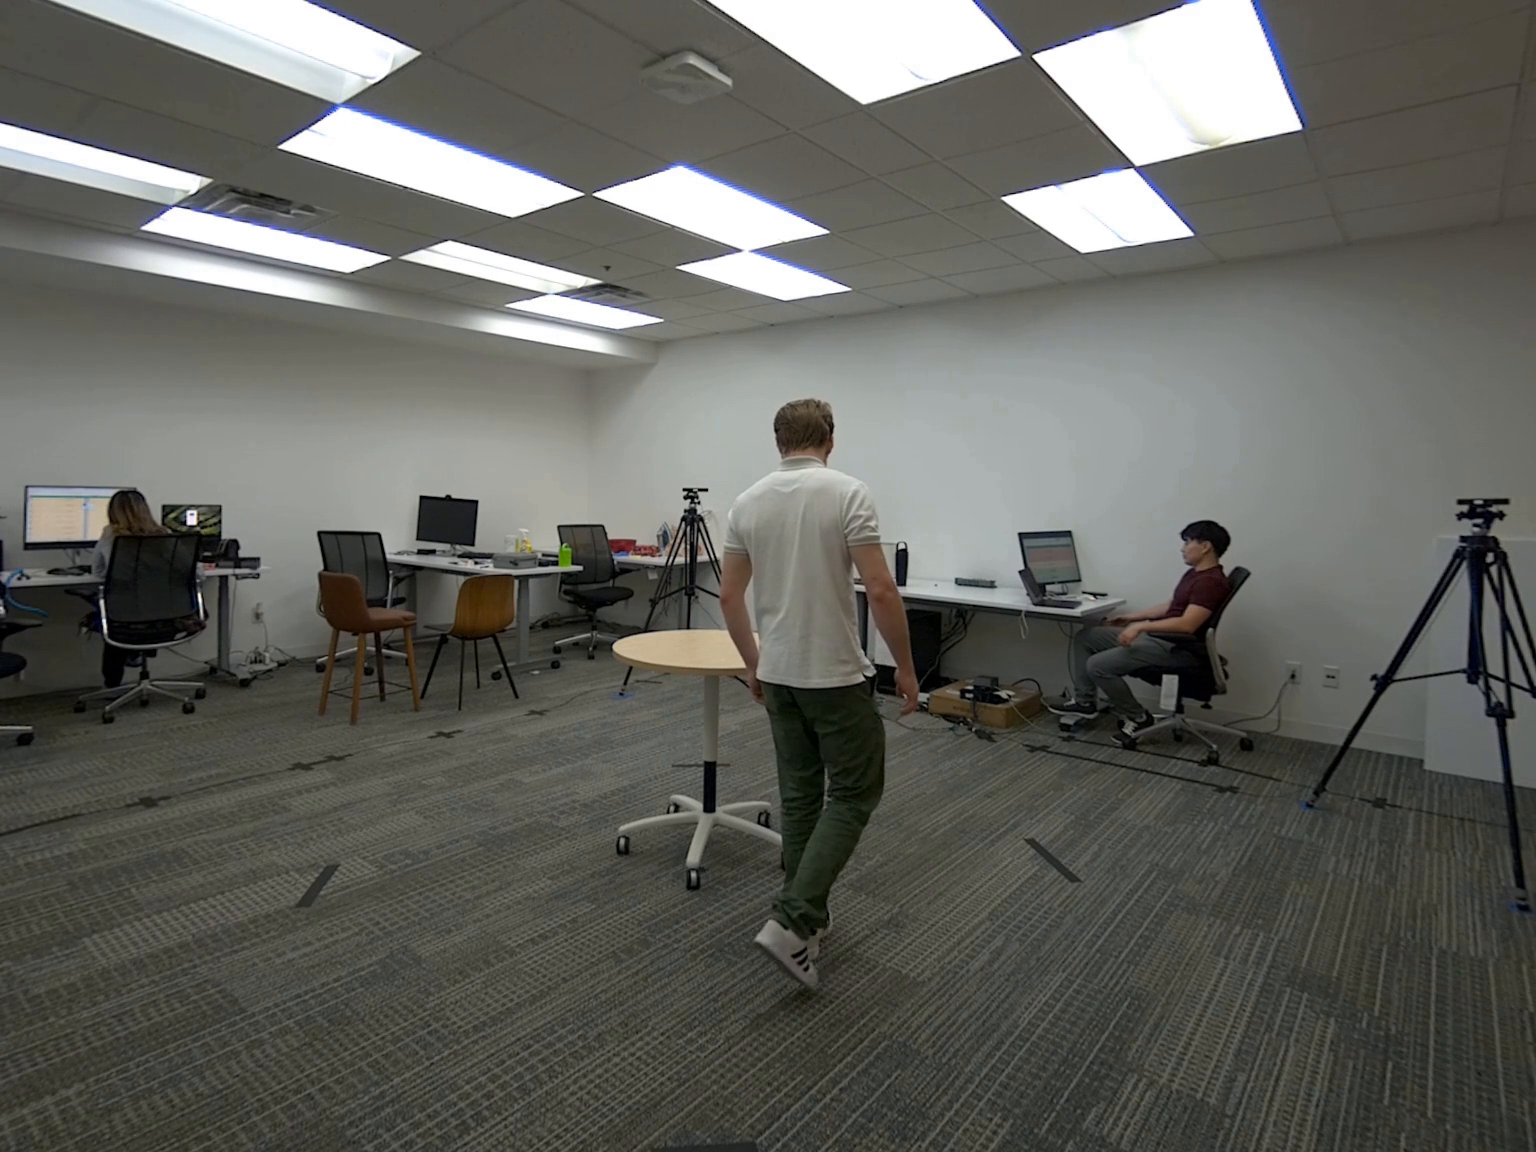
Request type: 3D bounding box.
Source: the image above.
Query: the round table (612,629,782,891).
[{"bbox_3d":[-0.237,0.664,3.287,0.763,0.791,0.768,1,4,-2],"label":"round table"}]
